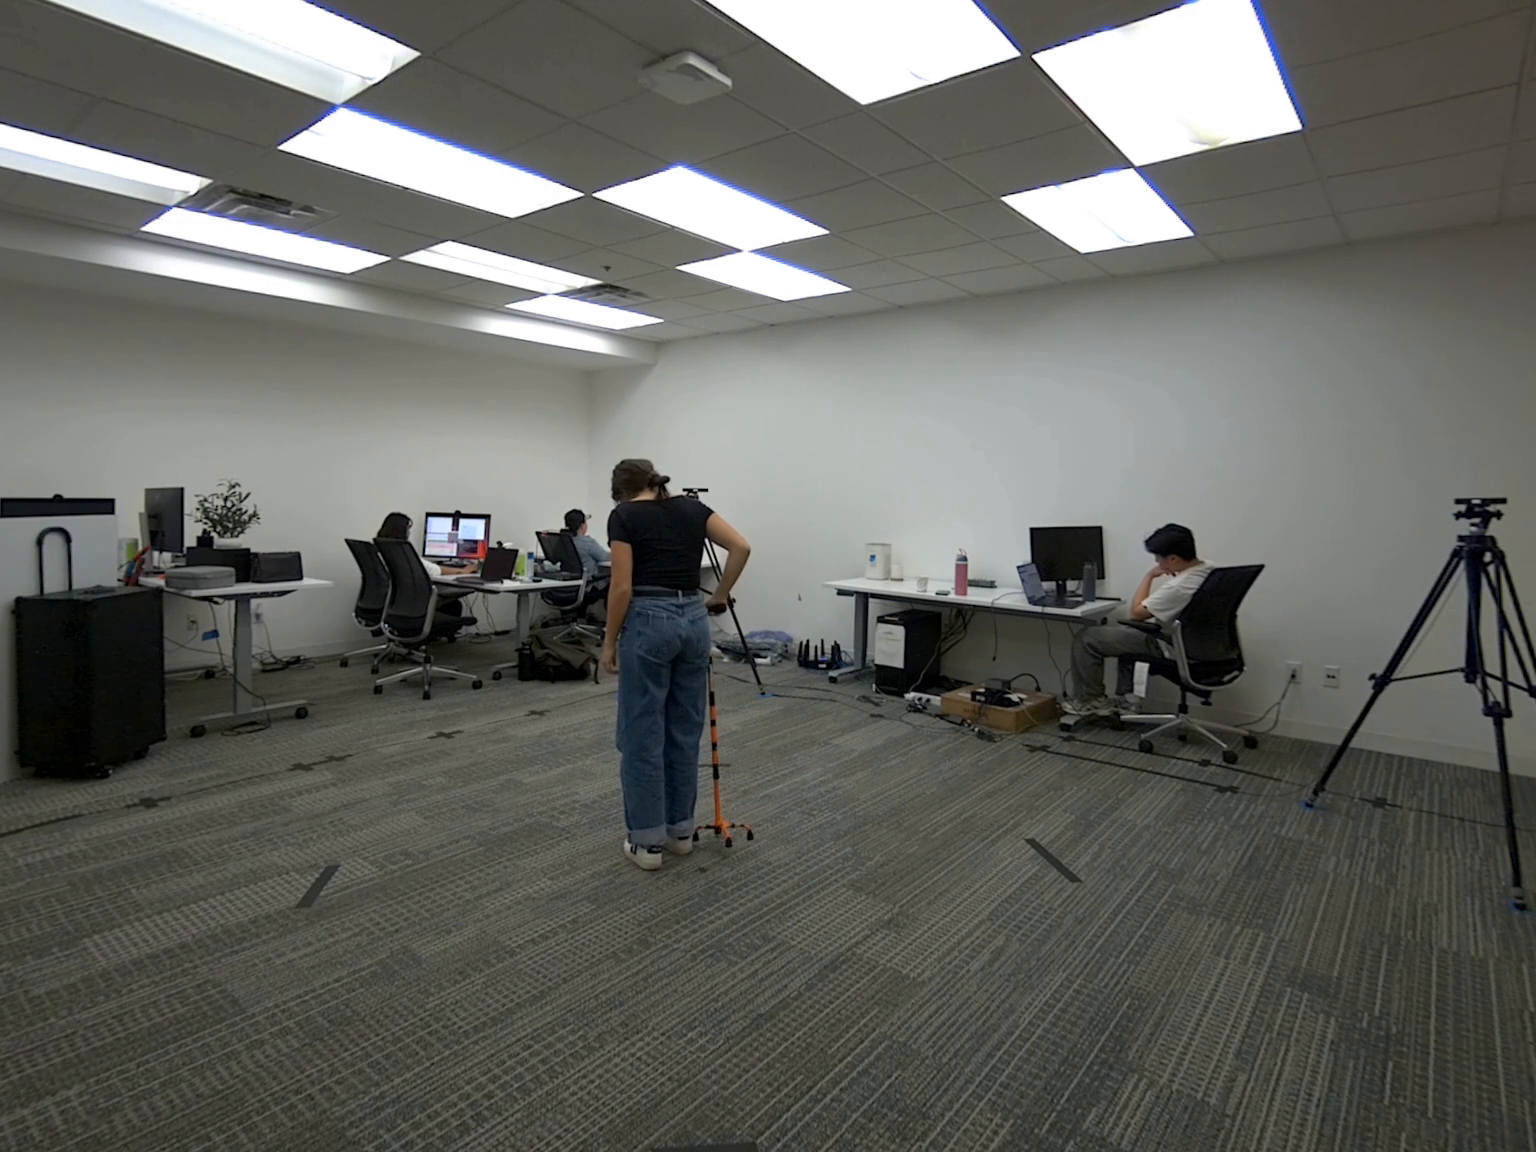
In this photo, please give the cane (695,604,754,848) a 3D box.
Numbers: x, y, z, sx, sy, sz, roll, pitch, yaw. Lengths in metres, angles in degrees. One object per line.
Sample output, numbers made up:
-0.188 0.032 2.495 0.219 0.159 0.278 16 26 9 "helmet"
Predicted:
-0.200 0.568 3.355 0.212 0.913 0.146 -8 -7 43 "cane"
